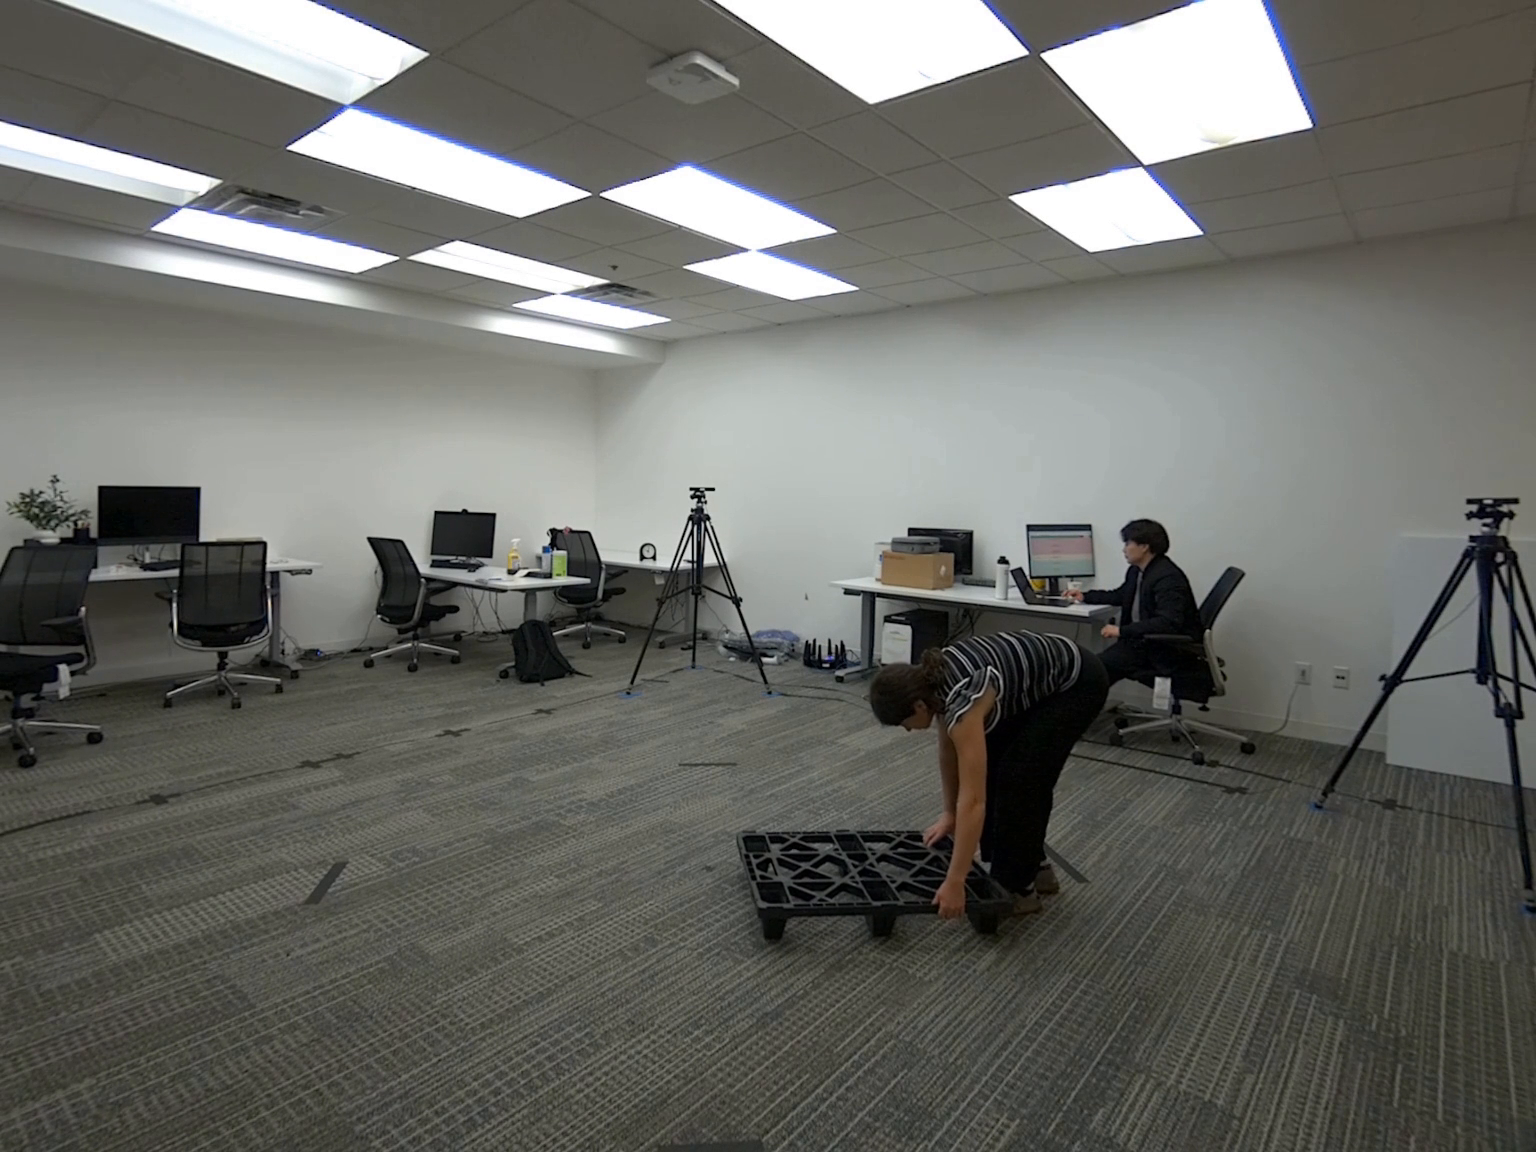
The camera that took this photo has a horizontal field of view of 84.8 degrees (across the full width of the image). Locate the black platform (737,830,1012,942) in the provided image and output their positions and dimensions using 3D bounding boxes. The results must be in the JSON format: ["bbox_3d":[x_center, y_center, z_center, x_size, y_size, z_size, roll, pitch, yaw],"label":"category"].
[{"bbox_3d":[0.316,1.028,2.865,0.800,0.143,0.611,1,5,-6],"label":"black platform"}]
